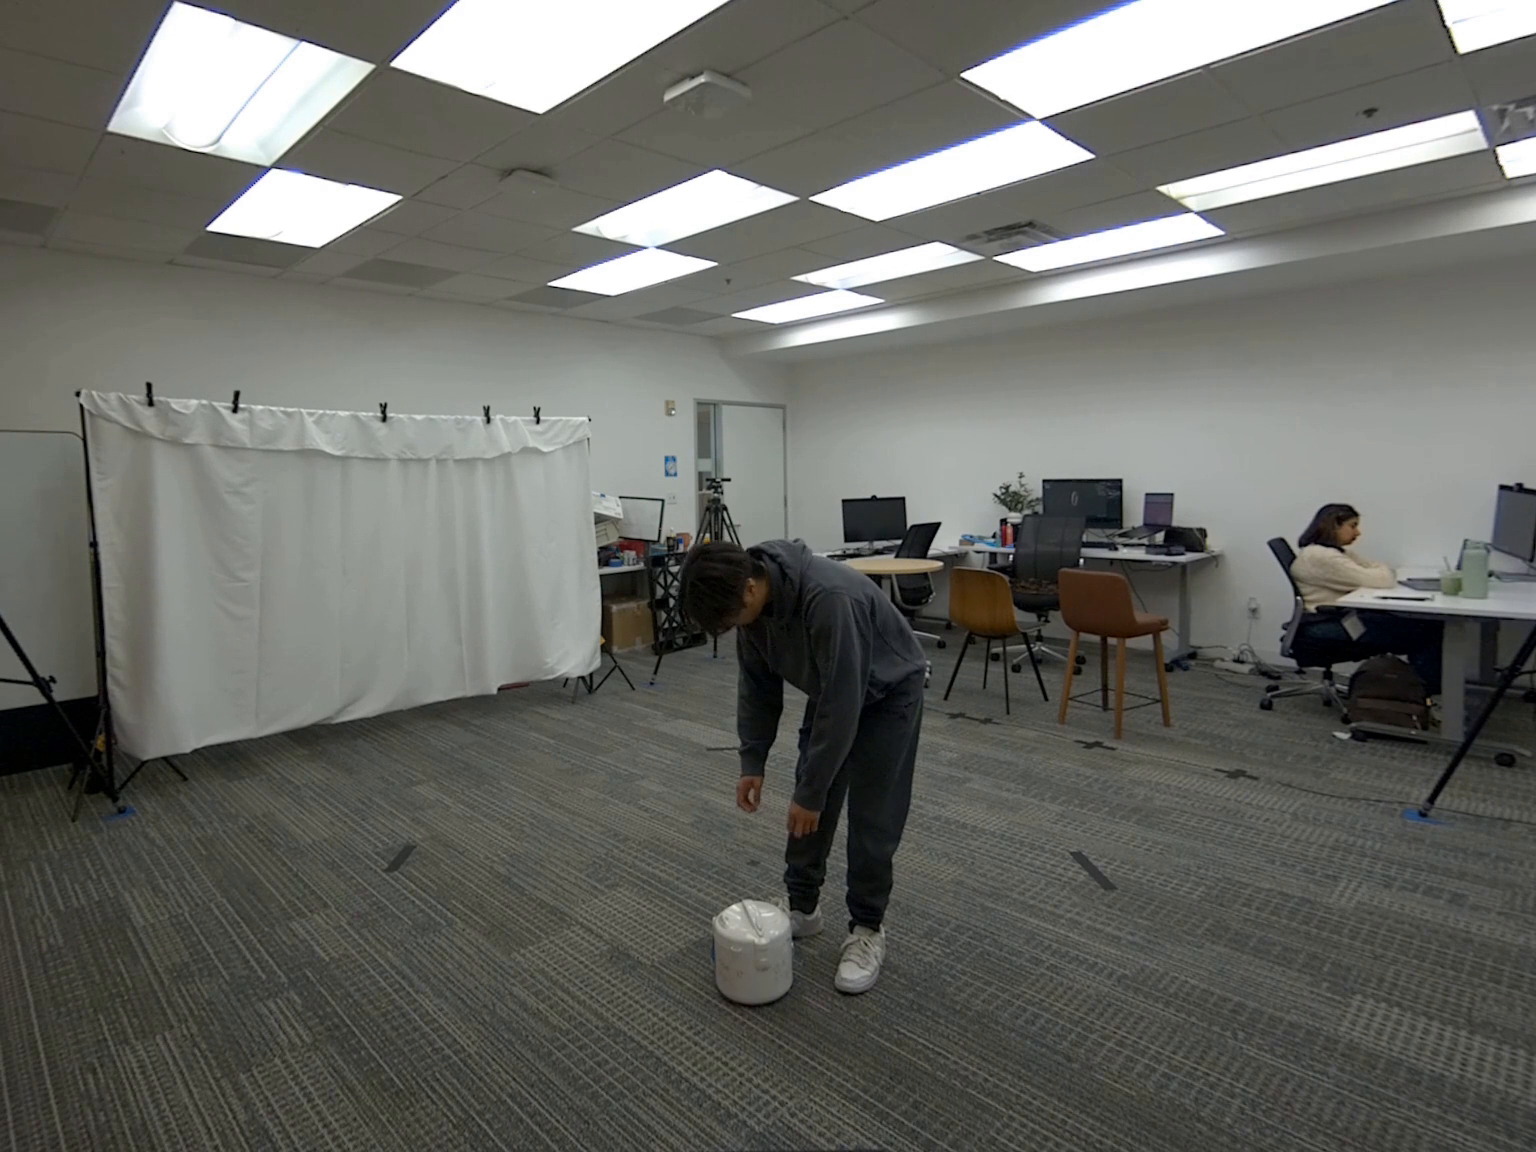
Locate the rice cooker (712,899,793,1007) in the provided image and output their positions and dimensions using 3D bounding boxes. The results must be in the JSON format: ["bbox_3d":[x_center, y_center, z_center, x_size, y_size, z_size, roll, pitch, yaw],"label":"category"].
[{"bbox_3d":[-0.031,1.017,2.343,0.215,0.232,0.224,-4,5,-14],"label":"rice cooker"}]
